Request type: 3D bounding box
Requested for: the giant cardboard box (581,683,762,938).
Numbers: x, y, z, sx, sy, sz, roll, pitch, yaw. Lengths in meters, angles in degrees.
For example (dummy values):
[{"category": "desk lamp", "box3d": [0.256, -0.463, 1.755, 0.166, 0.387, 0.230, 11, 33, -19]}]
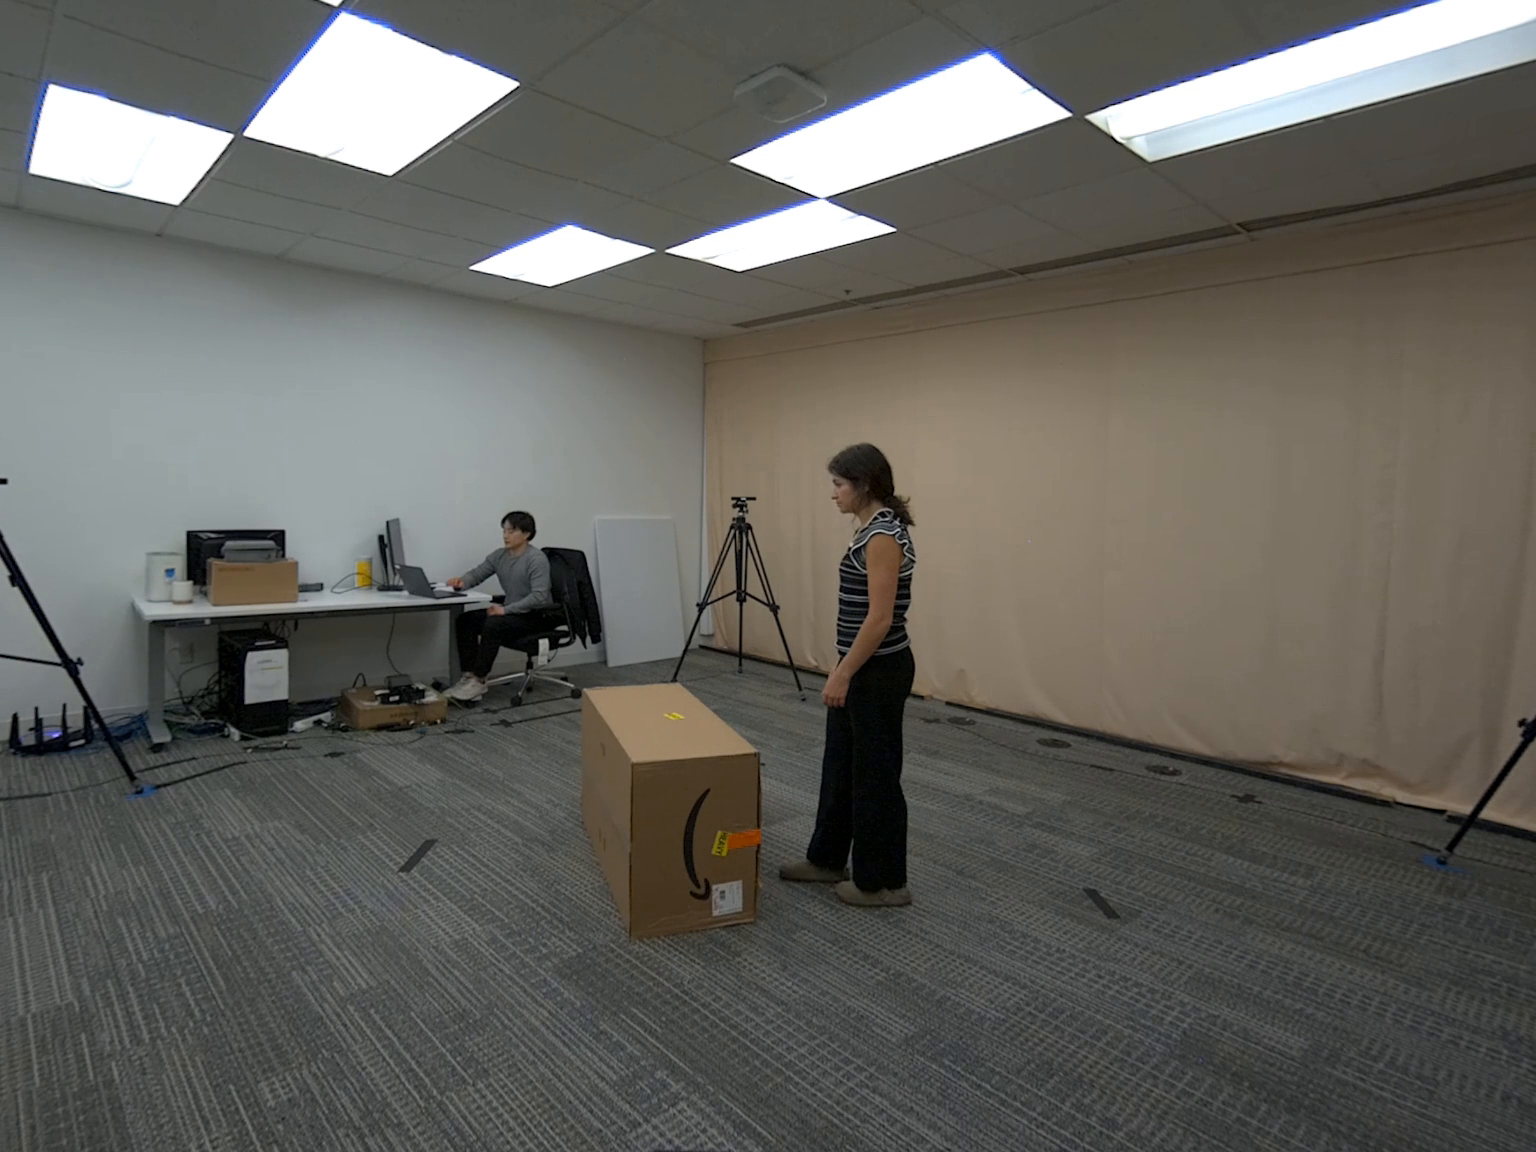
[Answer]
[{"category": "giant cardboard box", "box3d": [-0.418, 0.808, 3.164, 0.420, 0.576, 1.044, 0, 5, -20]}]
